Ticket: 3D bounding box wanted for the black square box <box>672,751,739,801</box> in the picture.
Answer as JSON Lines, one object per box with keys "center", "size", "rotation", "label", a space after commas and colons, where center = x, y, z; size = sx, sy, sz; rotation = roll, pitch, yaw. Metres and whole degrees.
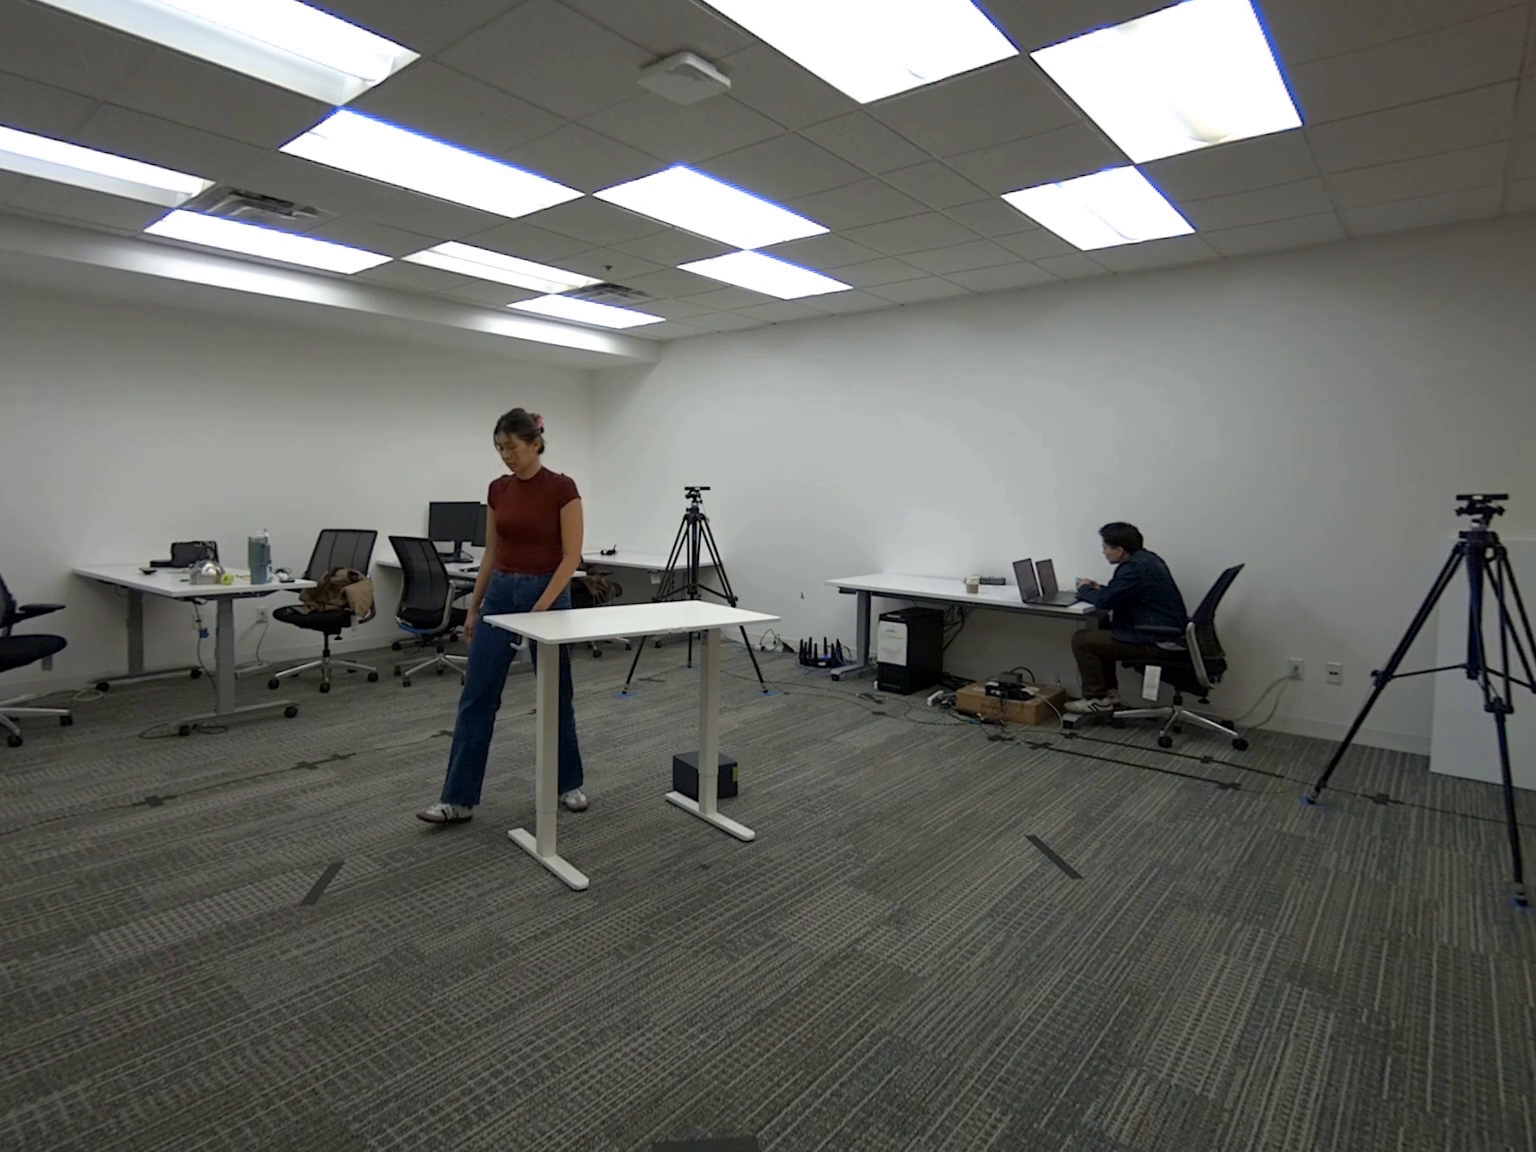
{"center": [-0.297, 0.907, 3.882], "size": [0.211, 0.155, 0.235], "rotation": [-2, 5, -34], "label": "black square box"}
